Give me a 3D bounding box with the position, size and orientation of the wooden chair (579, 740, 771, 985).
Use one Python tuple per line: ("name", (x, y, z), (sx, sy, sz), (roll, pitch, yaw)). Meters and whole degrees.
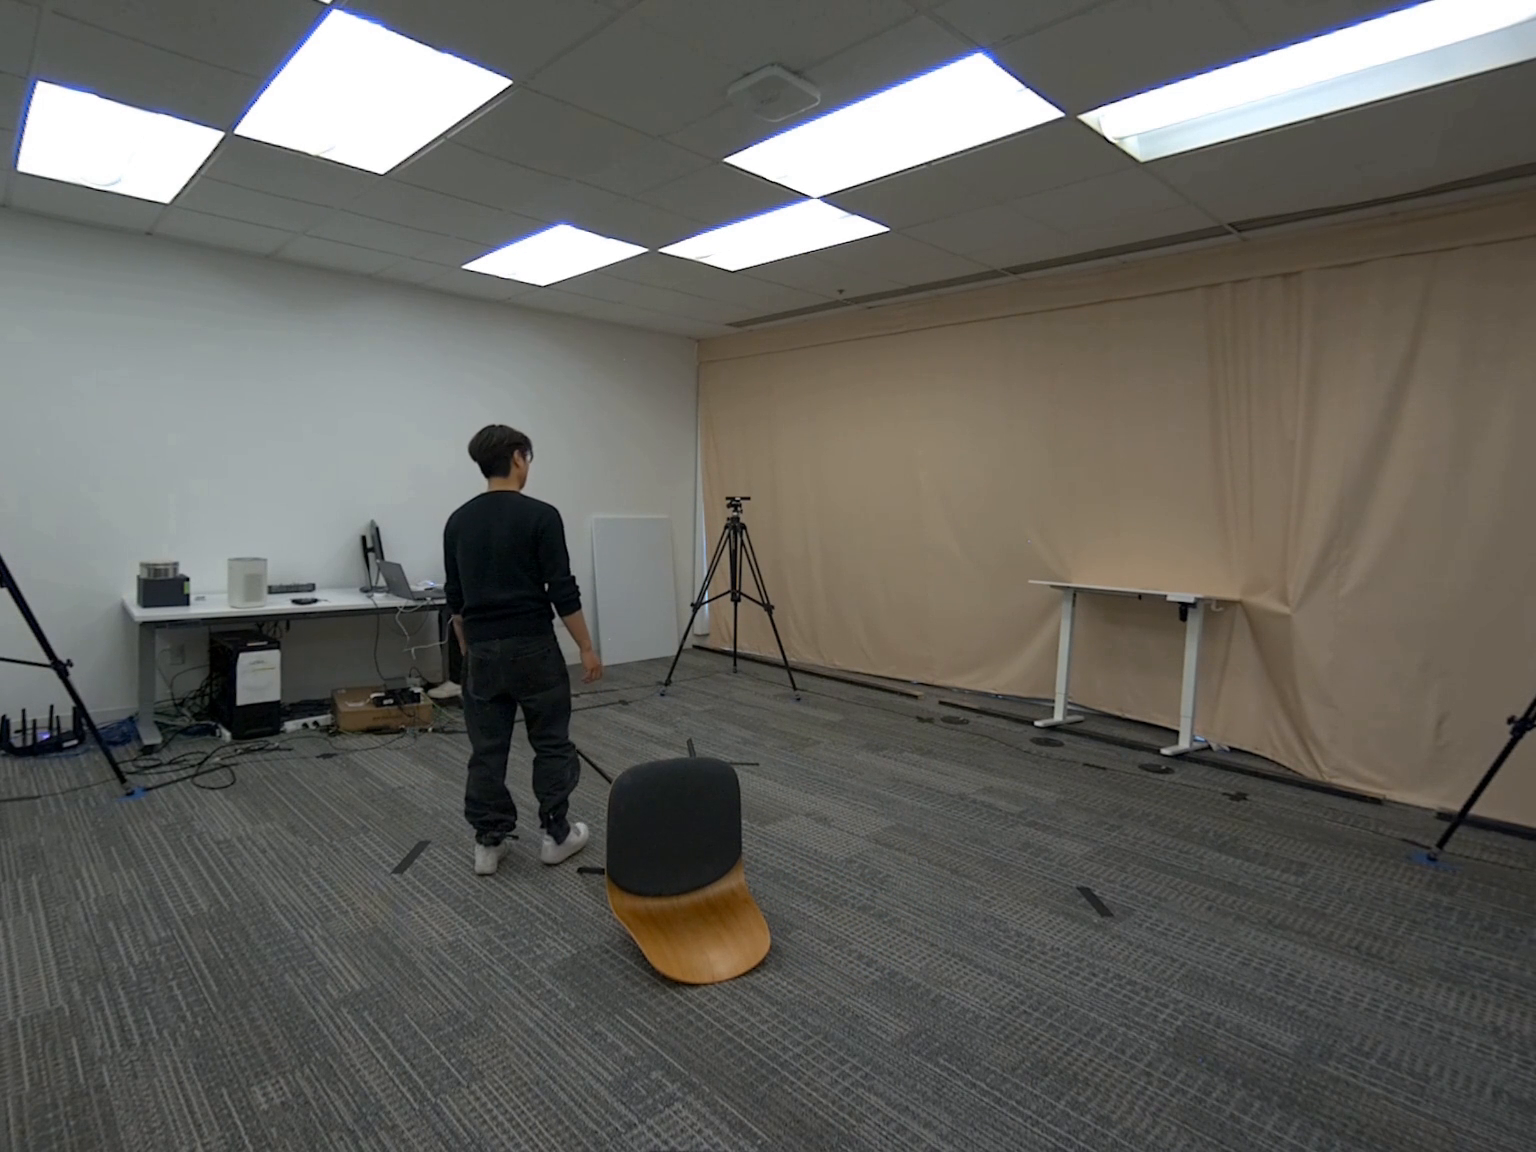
("wooden chair", (-0.326, 0.872, 2.798), (0.470, 0.521, 0.895), (-1, 6, -25))
